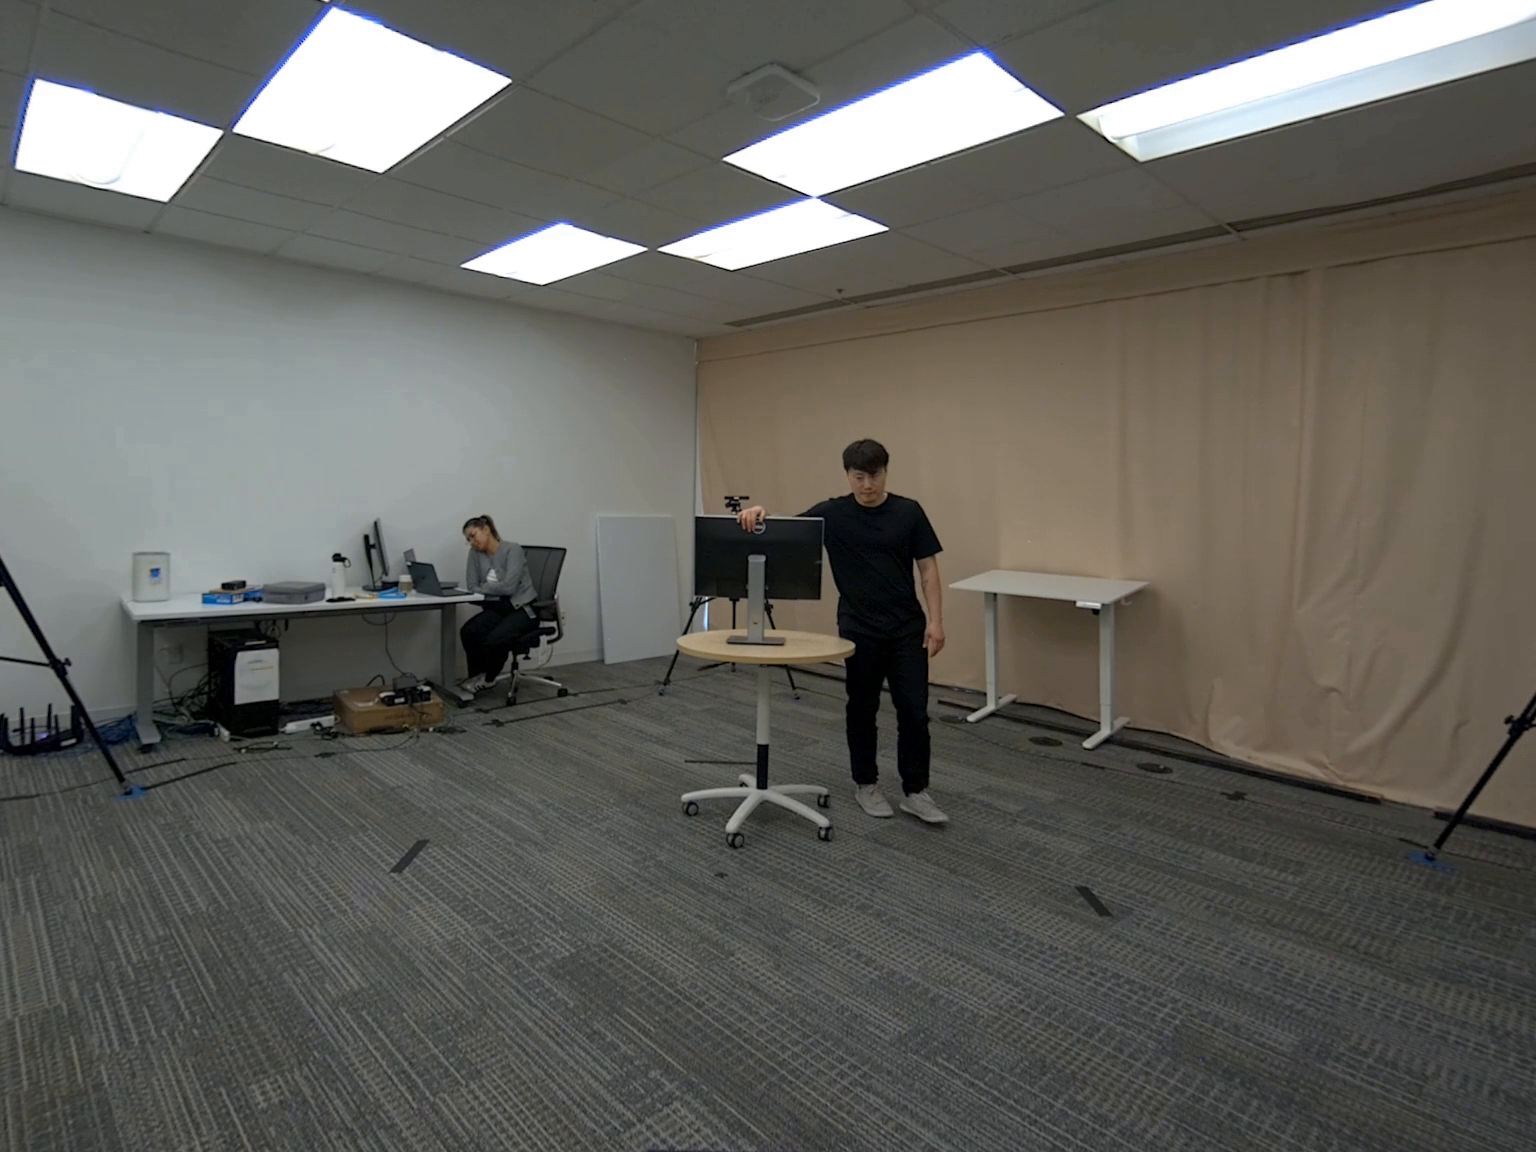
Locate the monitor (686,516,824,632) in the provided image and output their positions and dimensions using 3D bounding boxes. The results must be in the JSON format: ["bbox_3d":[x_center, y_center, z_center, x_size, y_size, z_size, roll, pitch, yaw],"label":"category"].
[{"bbox_3d":[-0.054,0.020,3.611,0.540,0.522,0.187,2,0,2],"label":"monitor"}]
